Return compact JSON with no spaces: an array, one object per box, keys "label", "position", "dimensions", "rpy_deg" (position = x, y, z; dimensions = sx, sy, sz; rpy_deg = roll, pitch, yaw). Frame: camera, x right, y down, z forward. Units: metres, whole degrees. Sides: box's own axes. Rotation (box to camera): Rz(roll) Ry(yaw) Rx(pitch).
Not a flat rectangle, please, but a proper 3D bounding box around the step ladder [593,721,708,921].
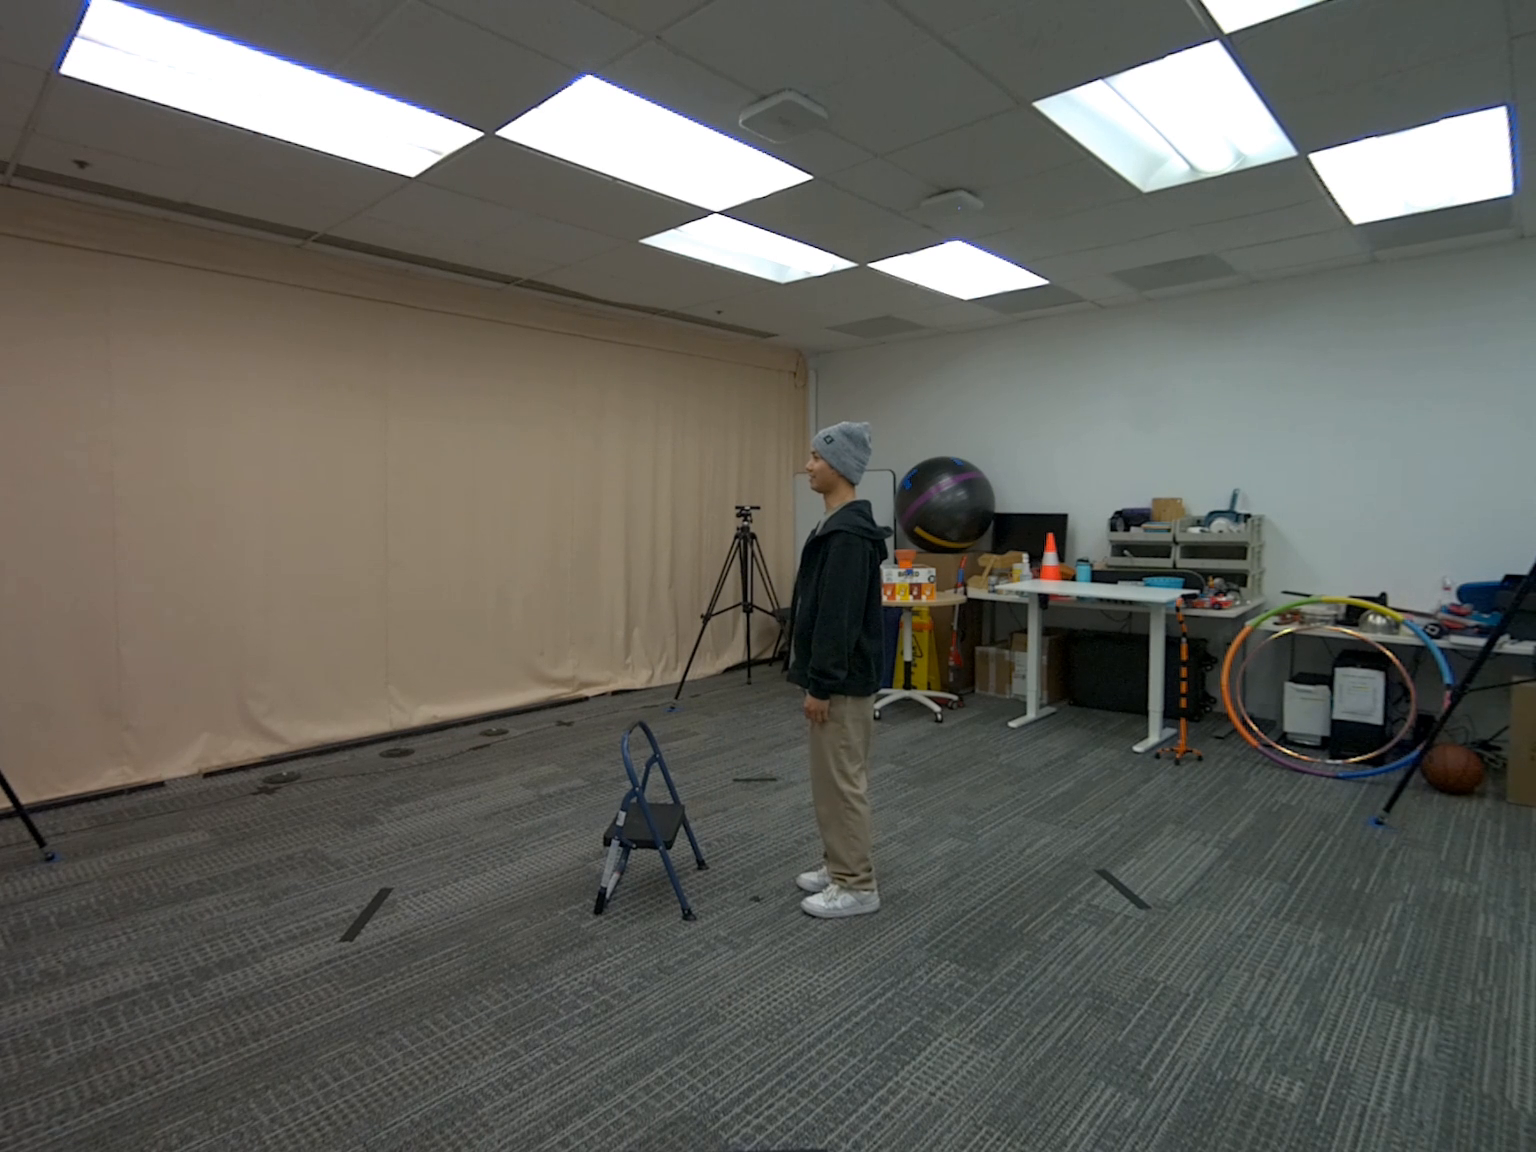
[{"label":"step ladder","position":[-0.416,0.844,3.047],"dimensions":[0.351,0.605,0.429],"rpy_deg":[0,3,3]}]
